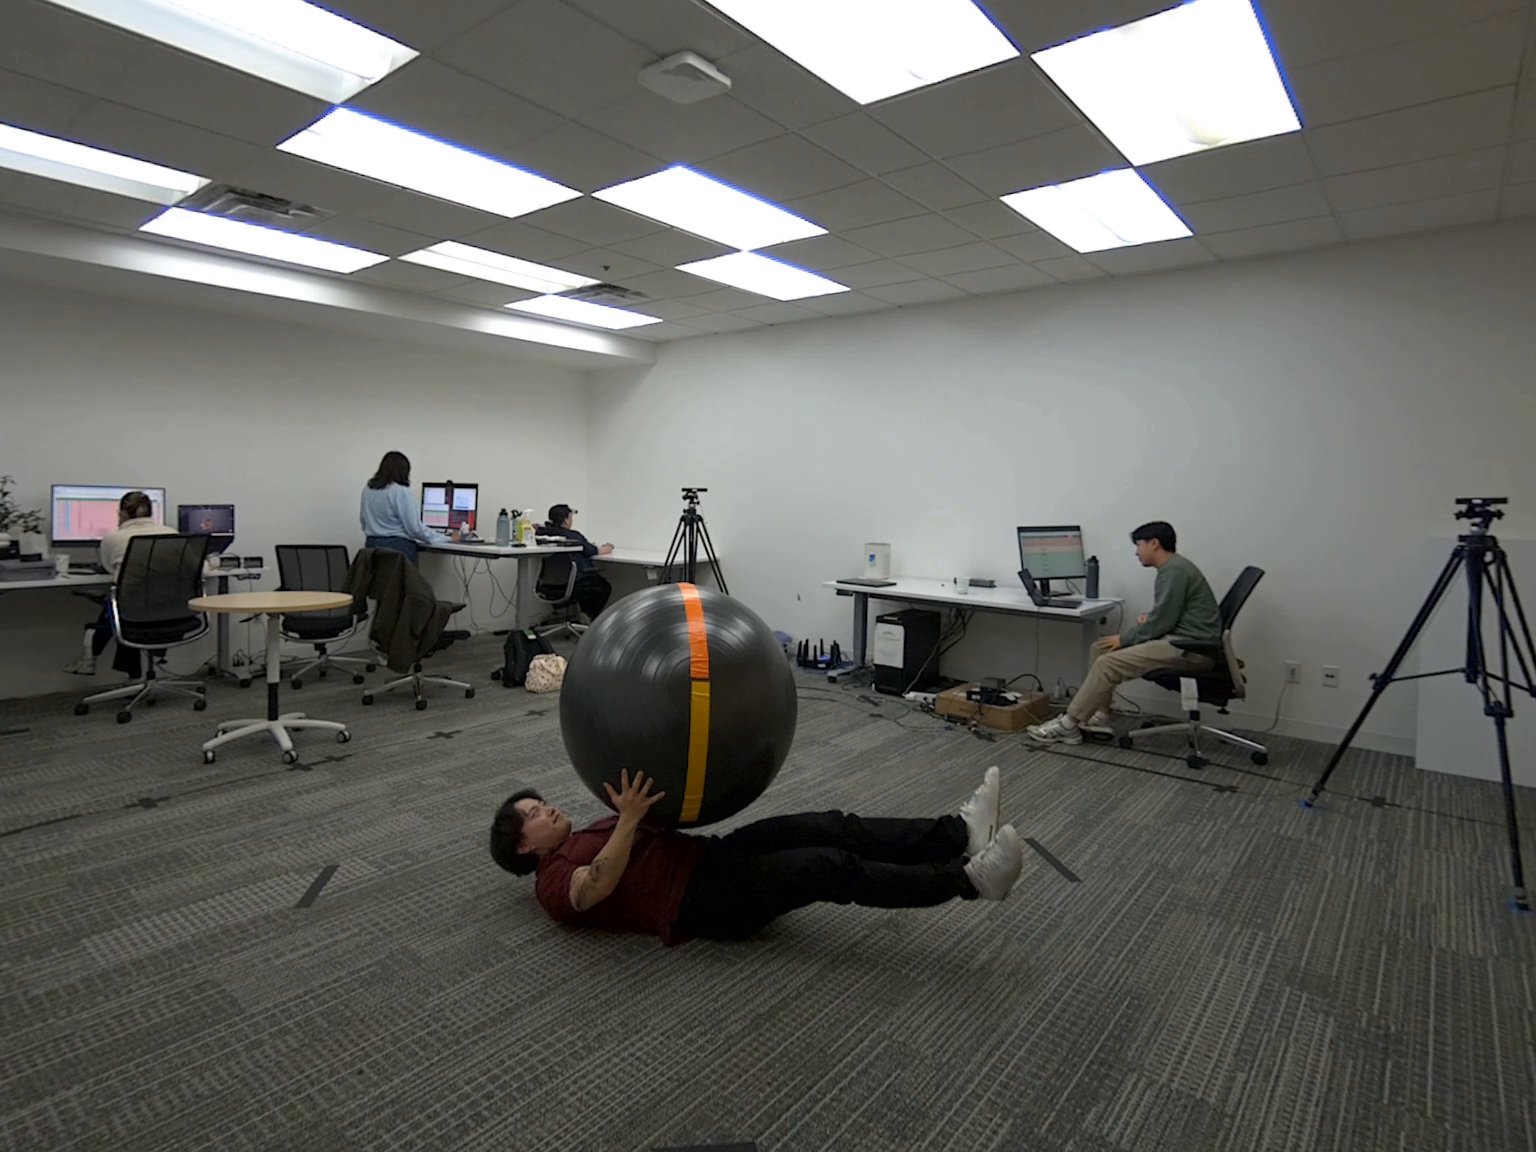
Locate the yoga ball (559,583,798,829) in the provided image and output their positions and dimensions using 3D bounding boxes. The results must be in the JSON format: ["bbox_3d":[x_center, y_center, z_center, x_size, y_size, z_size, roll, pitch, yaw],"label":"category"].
[{"bbox_3d":[-0.290,0.407,2.717,0.757,0.755,0.762,1,4,-2],"label":"yoga ball"}]
